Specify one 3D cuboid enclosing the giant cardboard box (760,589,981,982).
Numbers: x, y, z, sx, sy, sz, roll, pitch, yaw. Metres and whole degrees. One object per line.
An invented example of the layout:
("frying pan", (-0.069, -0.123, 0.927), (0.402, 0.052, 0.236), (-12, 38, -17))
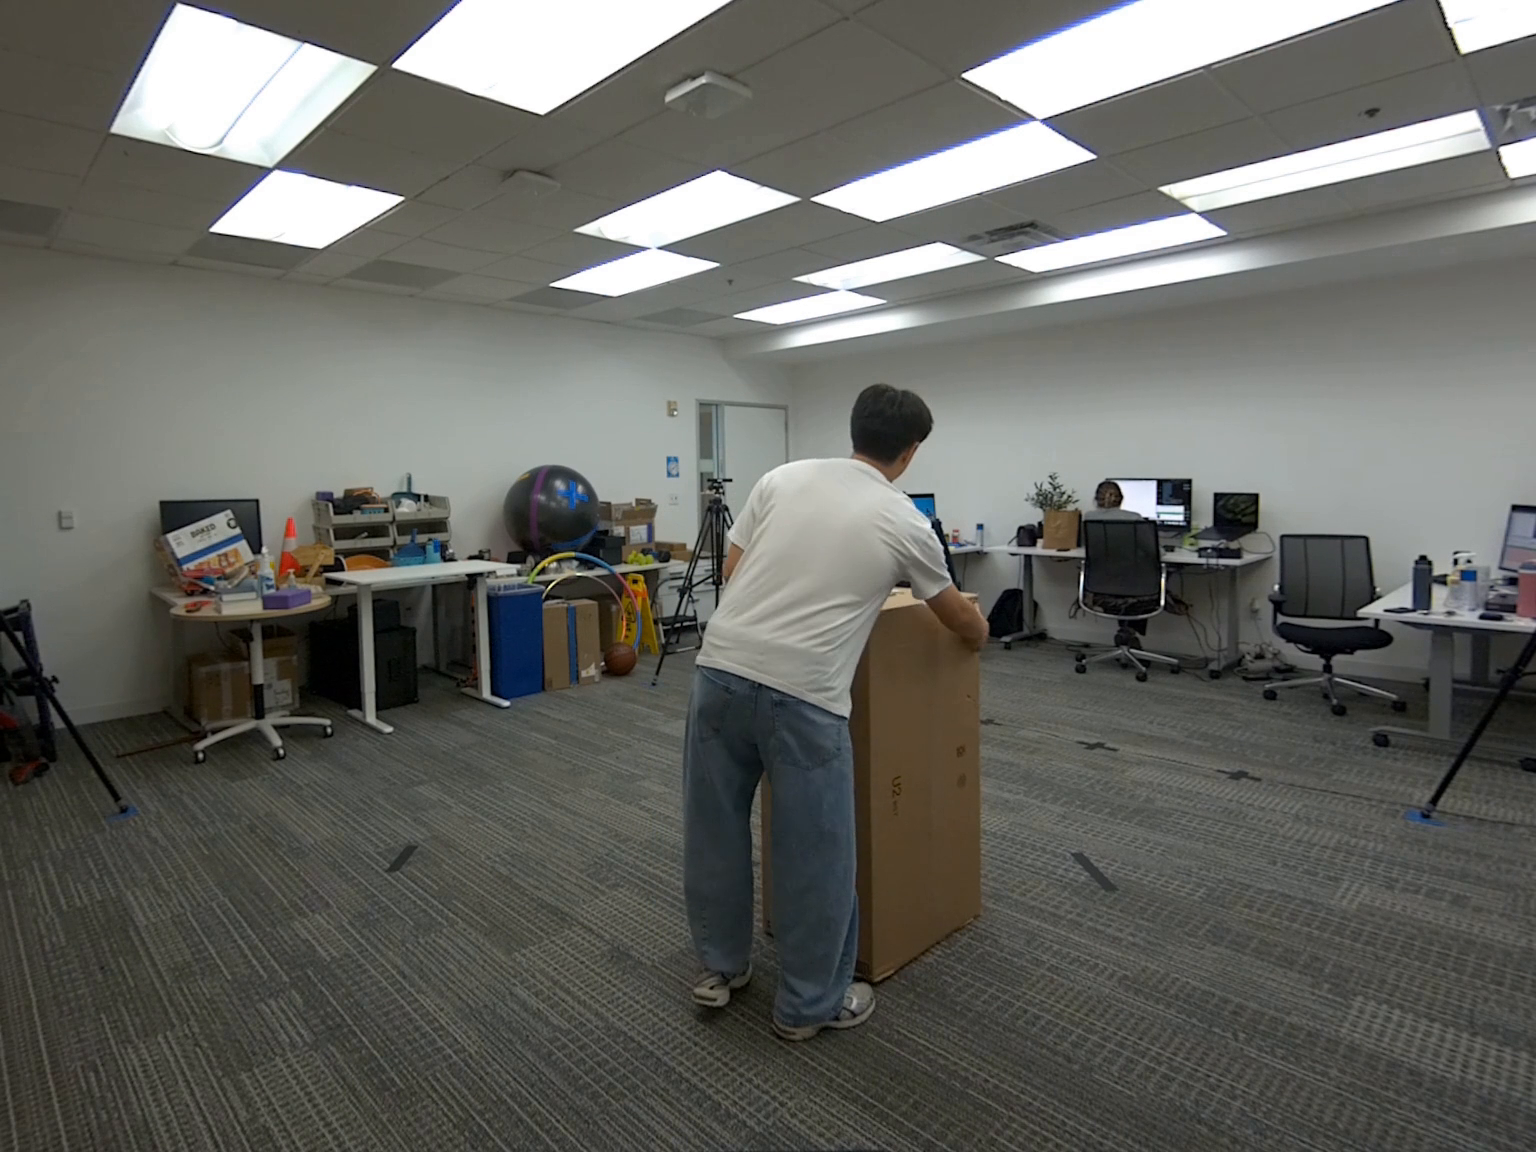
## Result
("giant cardboard box", (0.321, 0.575, 2.664), (0.562, 1.023, 0.439), (-4, 4, -44))
